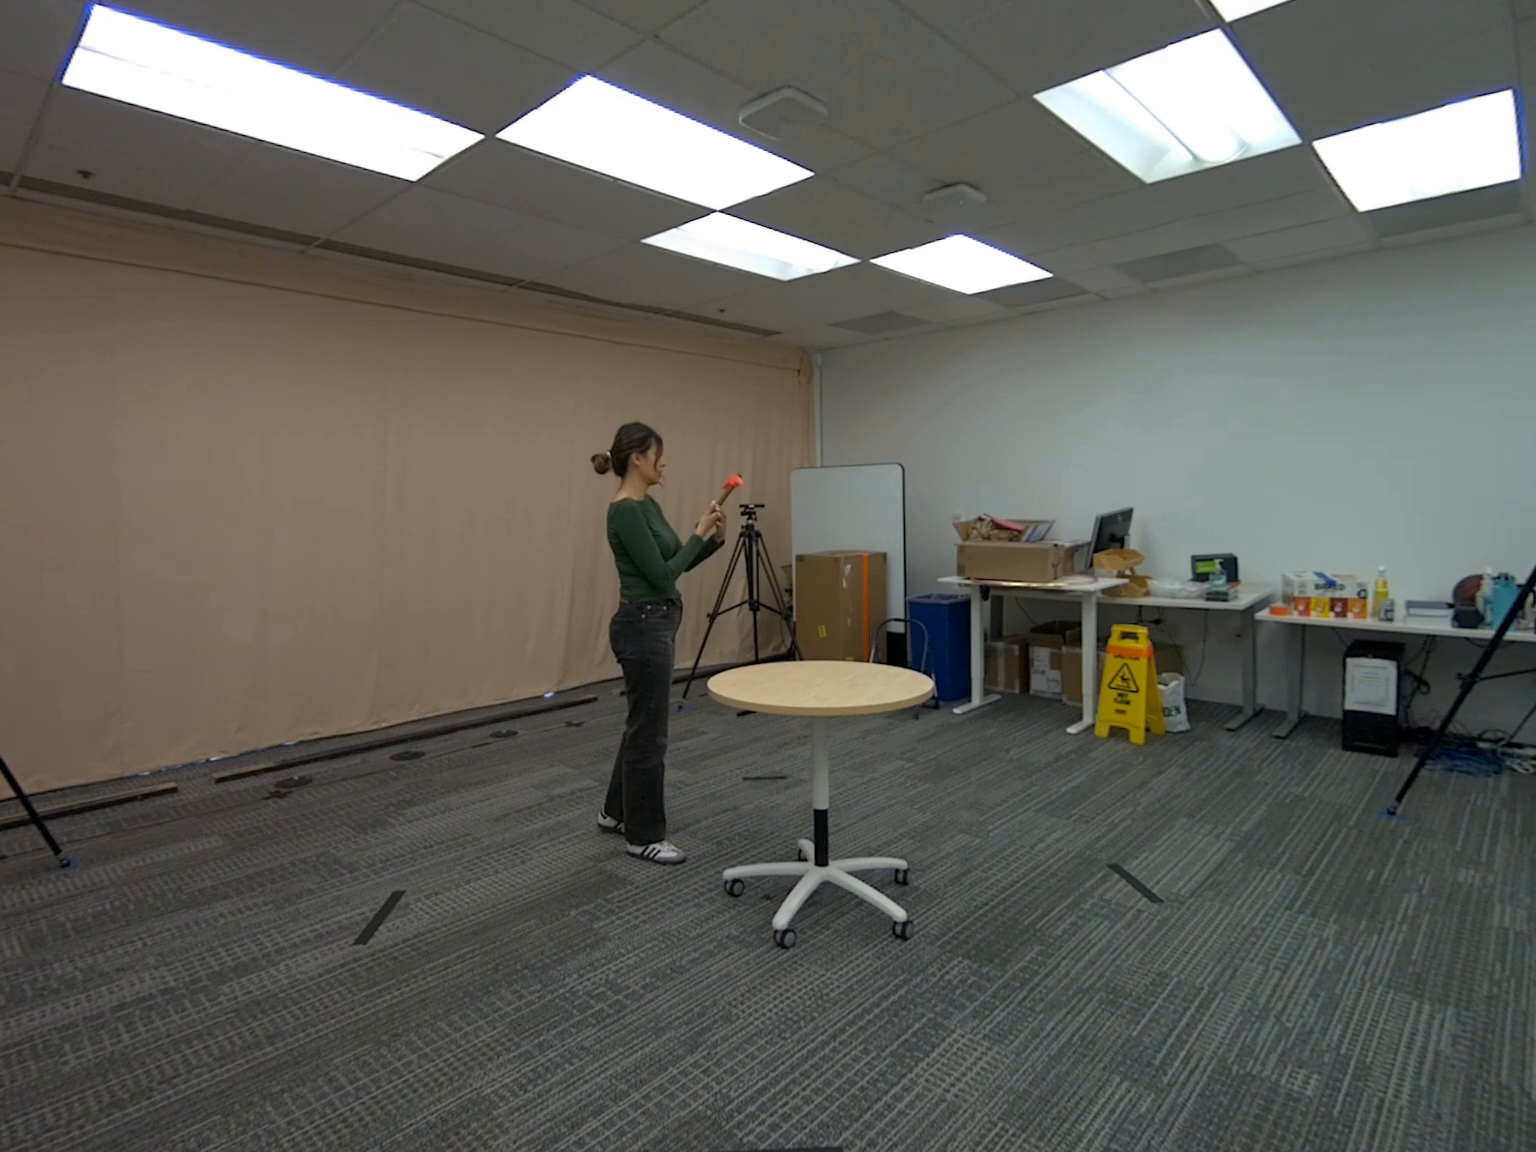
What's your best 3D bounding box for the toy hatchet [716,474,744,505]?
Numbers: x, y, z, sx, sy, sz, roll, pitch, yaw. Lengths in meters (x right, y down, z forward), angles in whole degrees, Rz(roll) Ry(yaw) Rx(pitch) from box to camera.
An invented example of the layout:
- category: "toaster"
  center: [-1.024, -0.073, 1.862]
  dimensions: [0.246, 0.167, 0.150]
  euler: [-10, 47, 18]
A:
- category: "toy hatchet"
  center: [-0.195, -0.310, 3.325]
  dimensions: [0.028, 0.272, 0.134]
  euler: [37, 22, -31]
